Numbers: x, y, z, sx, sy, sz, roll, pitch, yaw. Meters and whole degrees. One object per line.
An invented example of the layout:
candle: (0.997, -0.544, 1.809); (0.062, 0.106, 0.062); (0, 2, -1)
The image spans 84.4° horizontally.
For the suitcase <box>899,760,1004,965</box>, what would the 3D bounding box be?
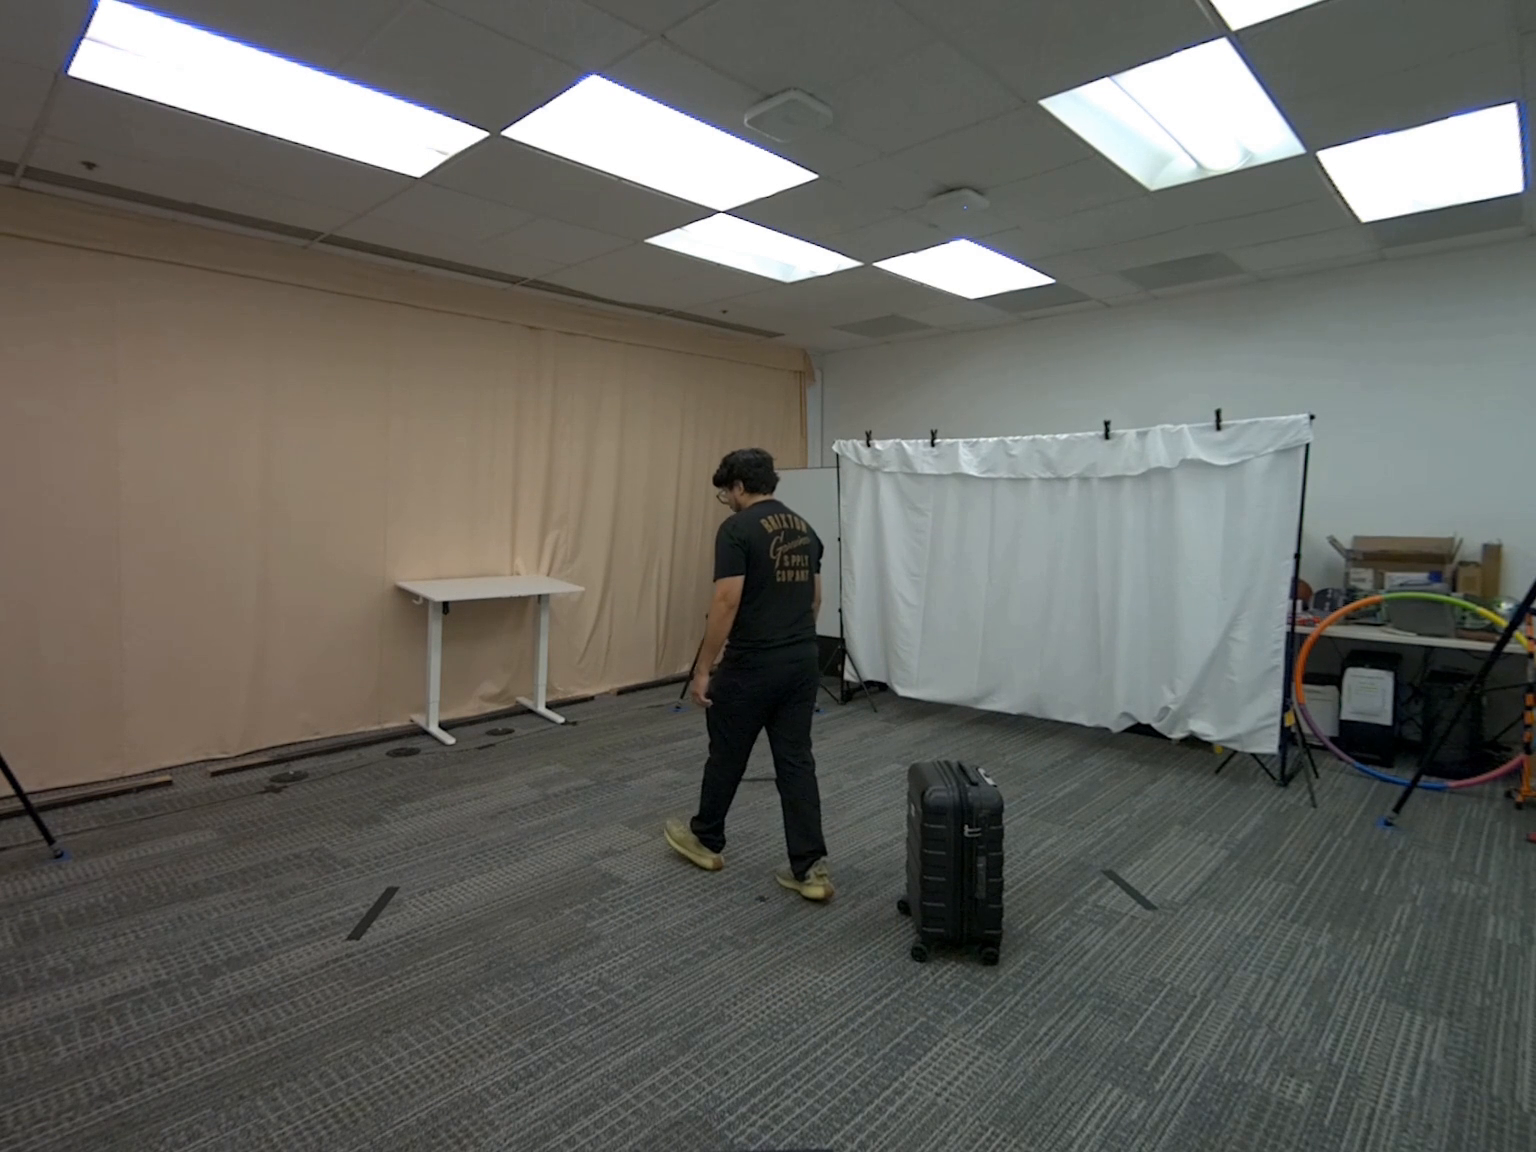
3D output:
suitcase: (0.599, 0.890, 2.691); (0.249, 0.548, 0.375); (0, 4, 2)
